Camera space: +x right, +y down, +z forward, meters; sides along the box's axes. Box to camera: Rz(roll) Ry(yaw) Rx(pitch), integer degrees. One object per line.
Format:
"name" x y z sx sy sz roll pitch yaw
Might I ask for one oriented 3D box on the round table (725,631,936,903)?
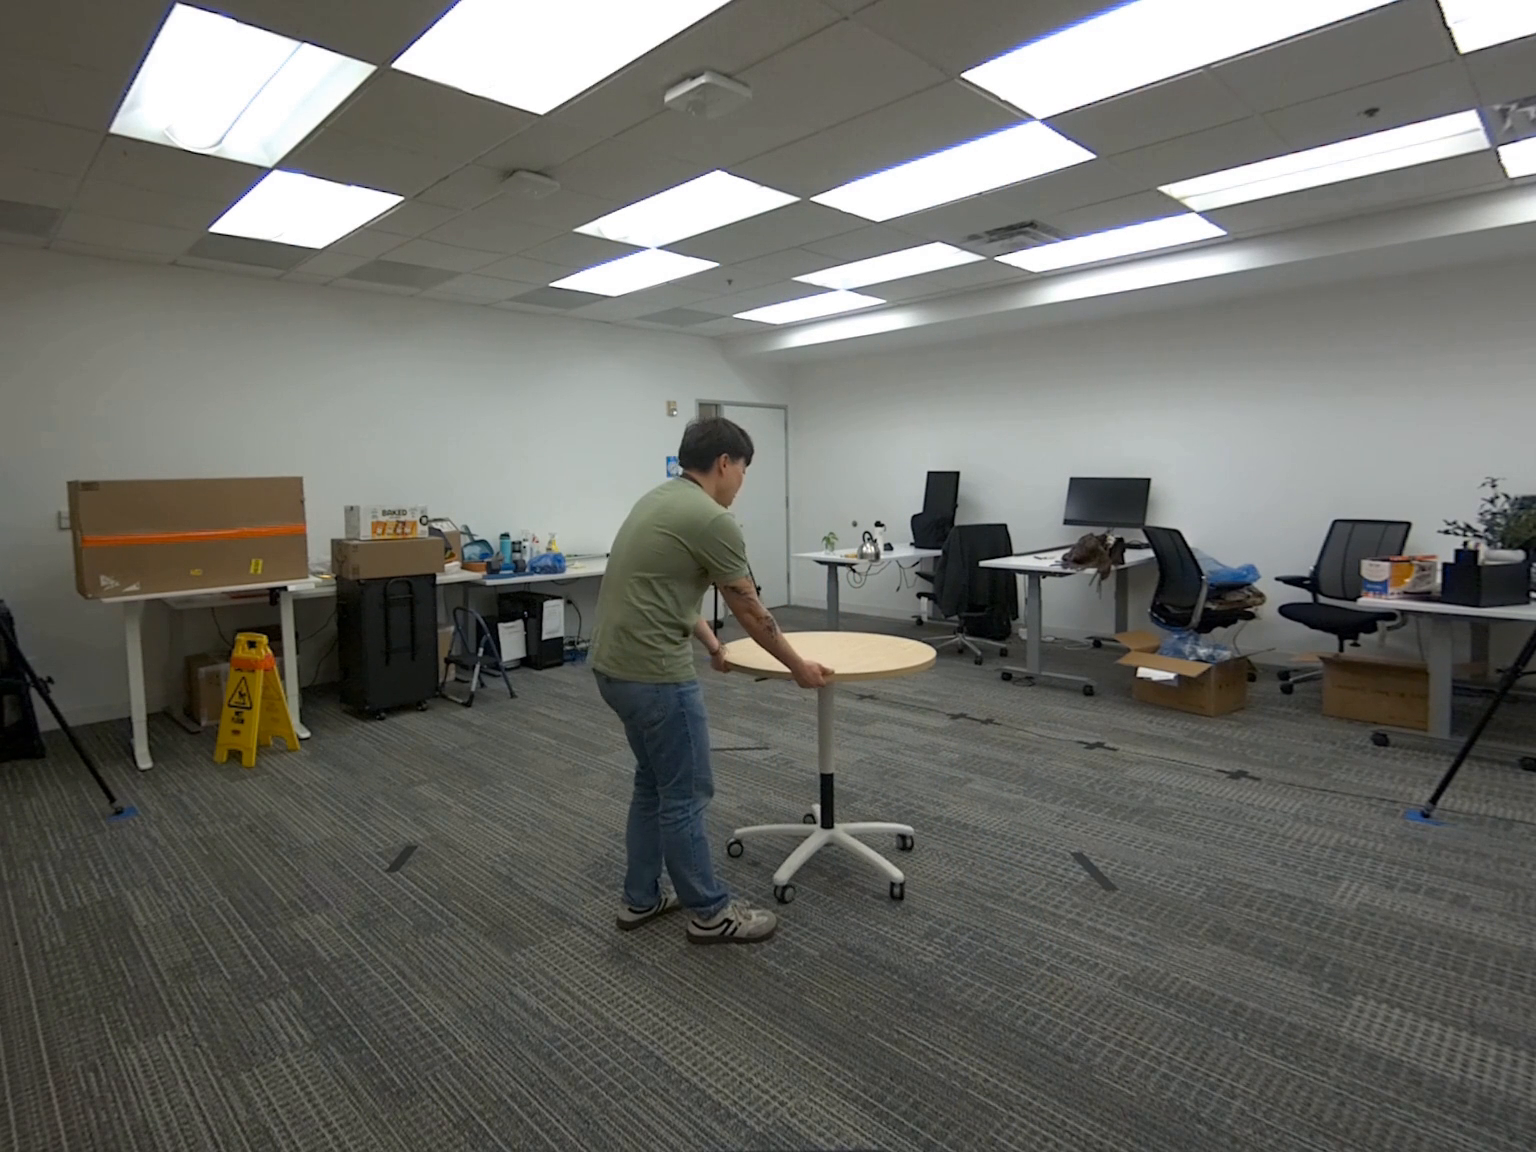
"round table" 0.212 0.656 3.055 0.763 0.791 0.768 -1 5 -2
